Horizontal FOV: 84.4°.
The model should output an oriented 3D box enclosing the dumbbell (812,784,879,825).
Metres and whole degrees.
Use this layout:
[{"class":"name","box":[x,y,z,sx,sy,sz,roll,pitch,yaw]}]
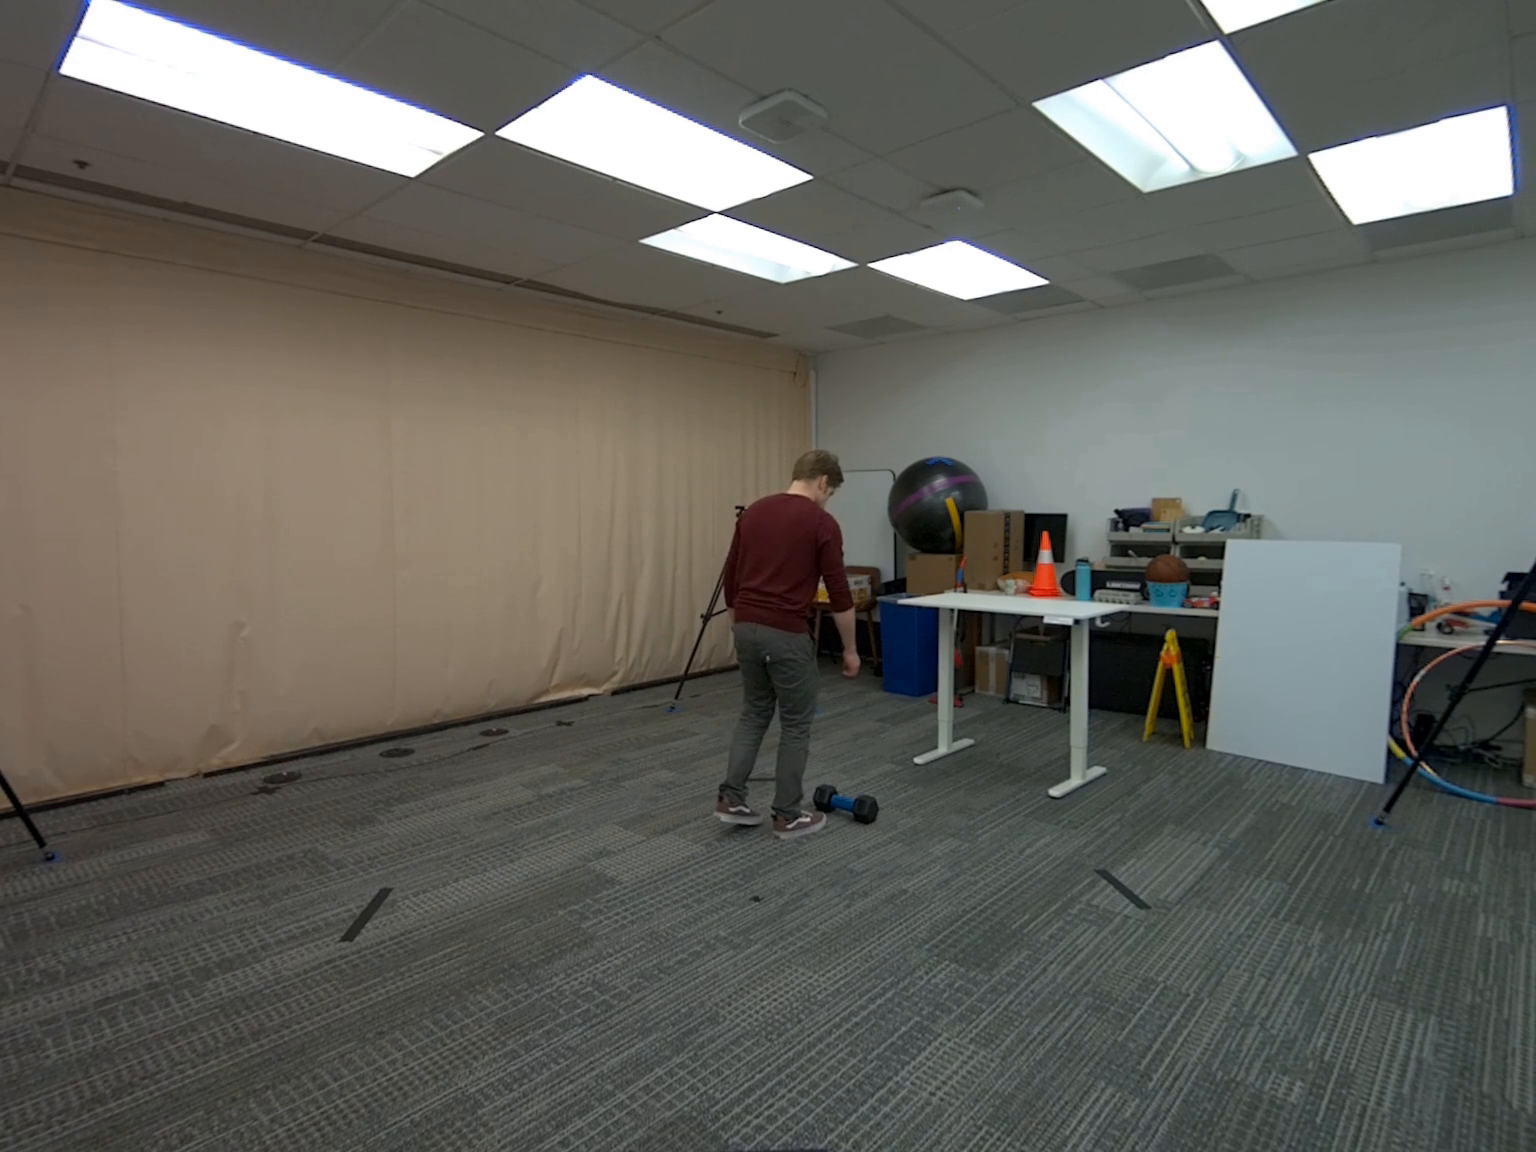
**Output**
[{"class":"dumbbell","box":[0.350,1.023,3.790,0.303,0.123,0.105,5,-26,40]}]
